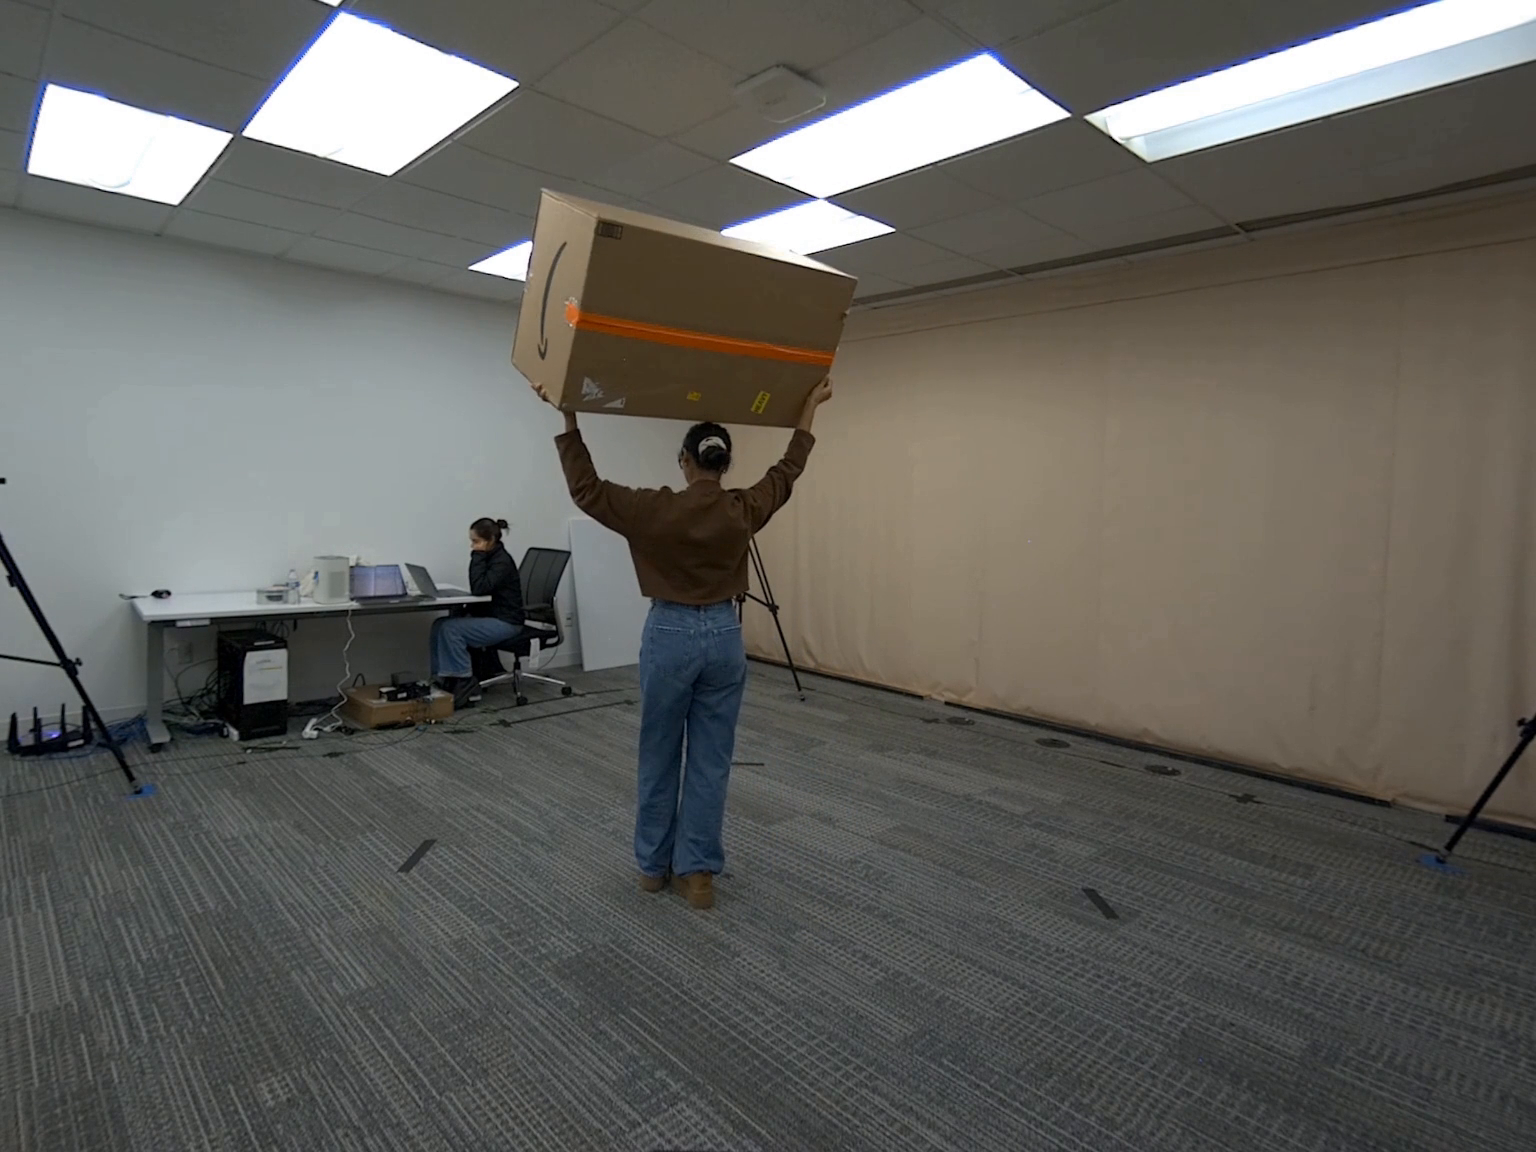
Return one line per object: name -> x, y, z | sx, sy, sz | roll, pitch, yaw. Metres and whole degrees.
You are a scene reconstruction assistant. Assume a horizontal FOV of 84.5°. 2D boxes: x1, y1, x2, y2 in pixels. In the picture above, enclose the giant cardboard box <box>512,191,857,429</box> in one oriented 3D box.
giant cardboard box -> -0.280, -0.873, 2.886 | 1.003, 0.571, 0.440 | -3, 32, -38
